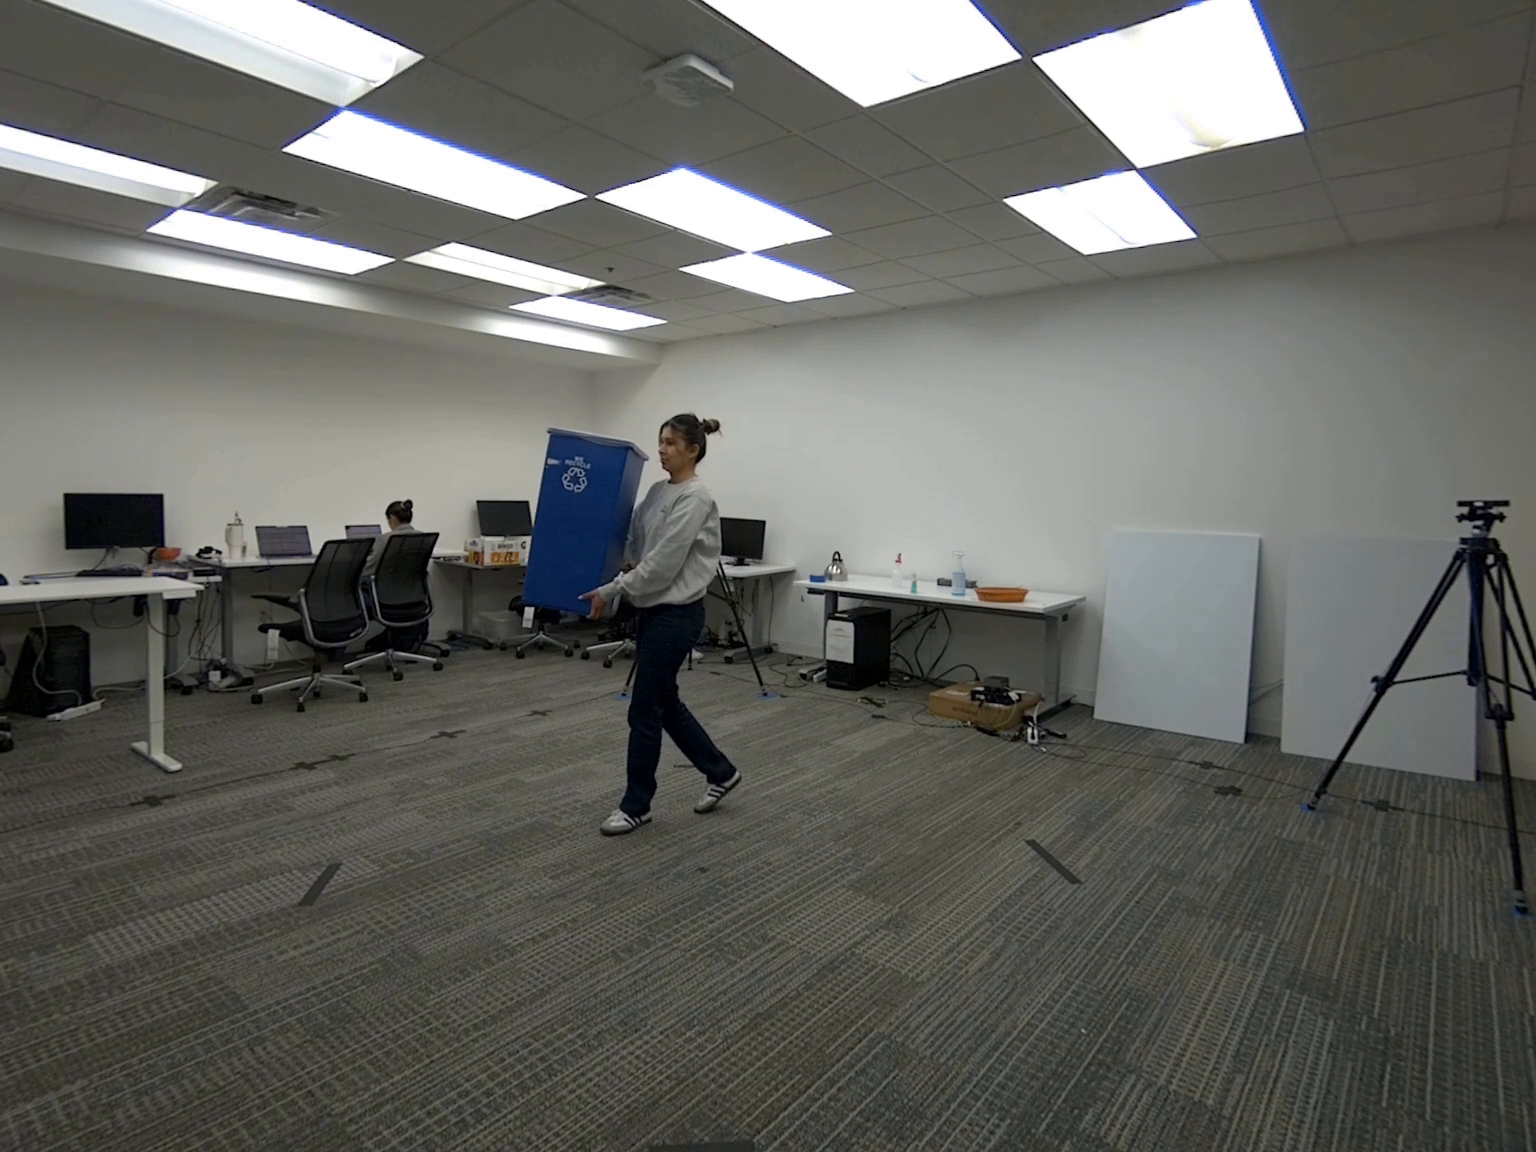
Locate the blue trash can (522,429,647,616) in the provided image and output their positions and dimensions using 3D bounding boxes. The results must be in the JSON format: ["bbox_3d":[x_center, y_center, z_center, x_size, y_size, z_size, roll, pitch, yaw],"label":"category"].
[{"bbox_3d":[-0.778,-0.219,3.554,0.377,0.715,0.374,10,-2,5],"label":"blue trash can"}]
